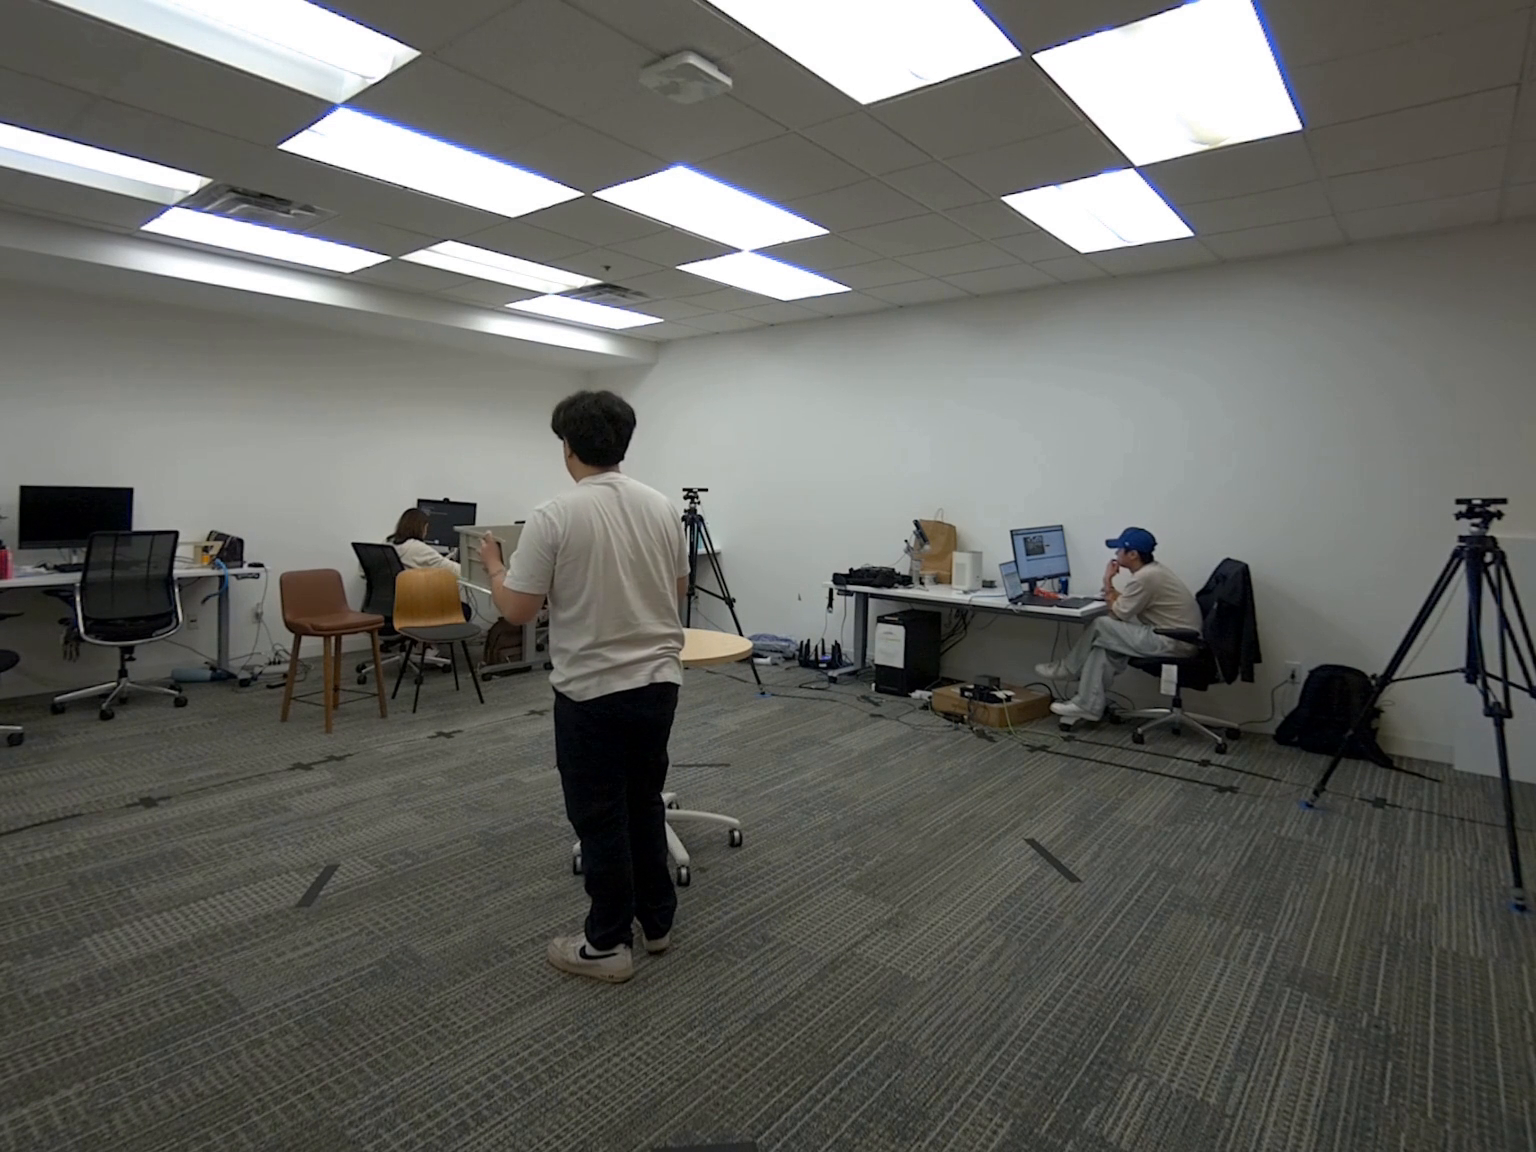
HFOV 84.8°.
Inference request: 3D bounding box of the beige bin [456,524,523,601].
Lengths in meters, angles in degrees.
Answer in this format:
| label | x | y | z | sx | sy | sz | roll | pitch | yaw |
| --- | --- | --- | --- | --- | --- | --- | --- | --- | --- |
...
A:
| label | x | y | z | sx | sy | sz | roll | pitch | yaw |
| --- | --- | --- | --- | --- | --- | --- | --- | --- | --- |
| beige bin | -0.732 | -0.055 | 2.716 | 0.410 | 0.188 | 0.391 | -5 | 10 | -39 |
